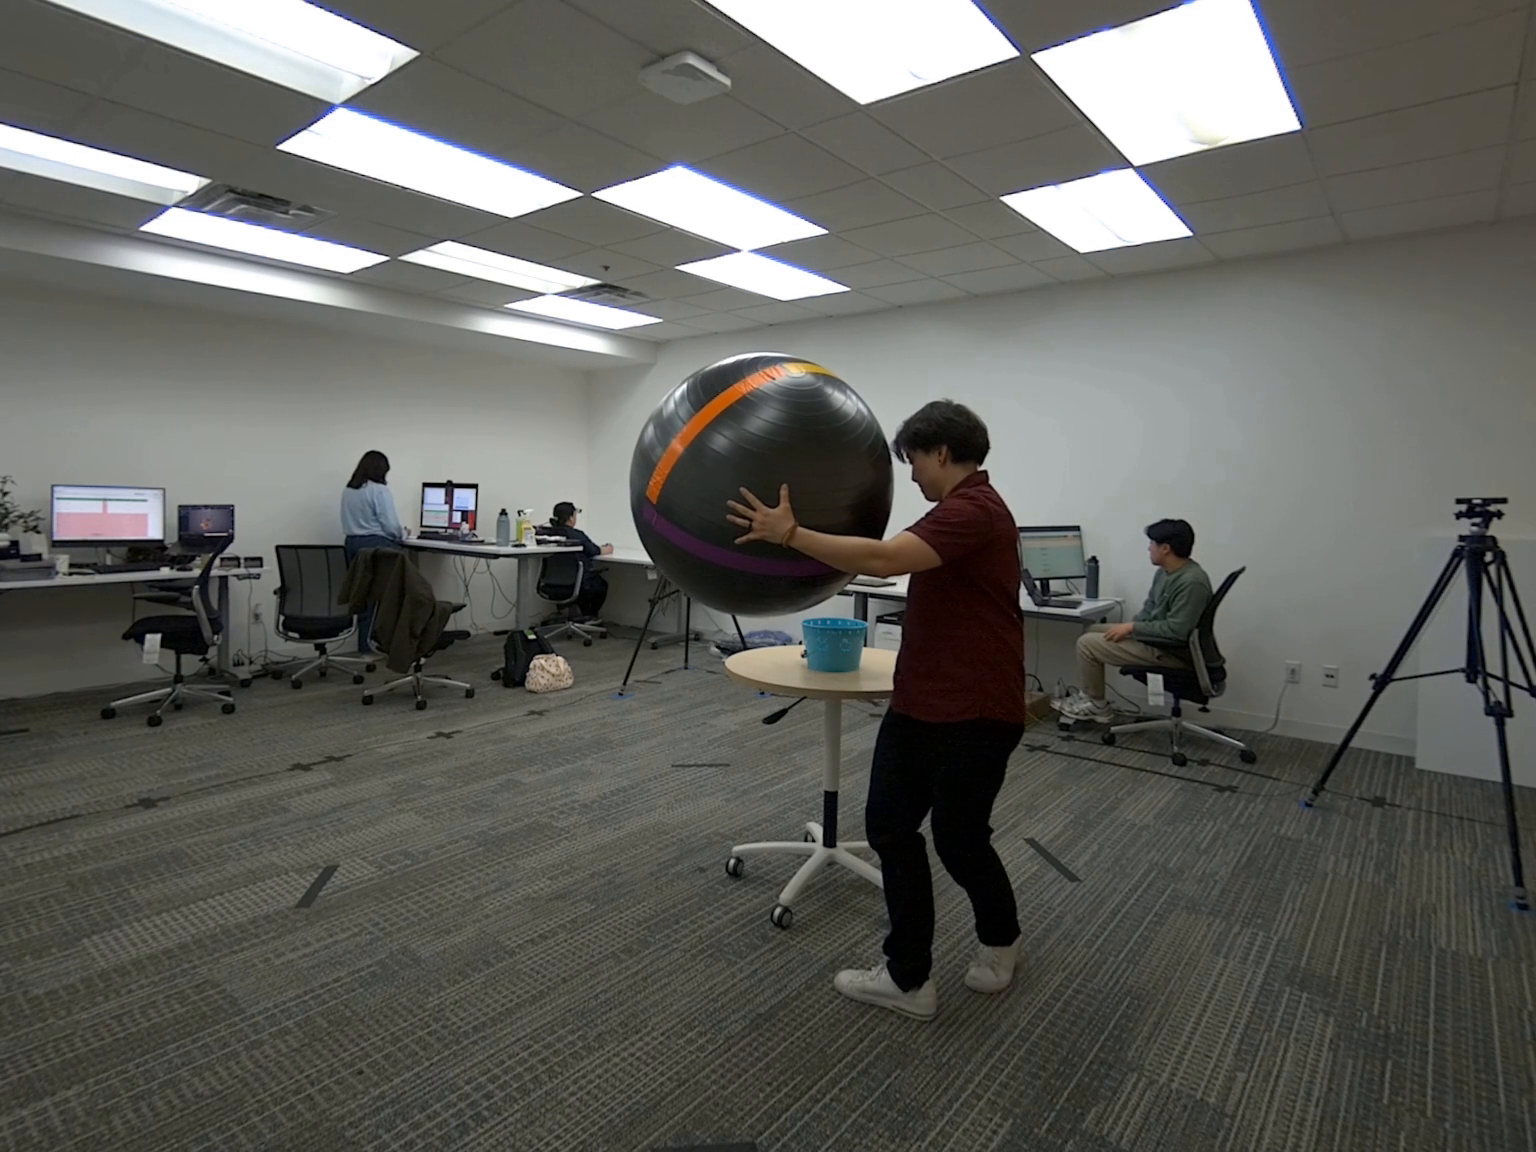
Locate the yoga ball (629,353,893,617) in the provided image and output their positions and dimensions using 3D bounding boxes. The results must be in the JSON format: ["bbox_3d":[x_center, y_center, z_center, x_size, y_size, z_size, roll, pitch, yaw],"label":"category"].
[{"bbox_3d":[-0.025,-0.252,2.458,0.757,0.756,0.761,1,4,-2],"label":"yoga ball"}]
